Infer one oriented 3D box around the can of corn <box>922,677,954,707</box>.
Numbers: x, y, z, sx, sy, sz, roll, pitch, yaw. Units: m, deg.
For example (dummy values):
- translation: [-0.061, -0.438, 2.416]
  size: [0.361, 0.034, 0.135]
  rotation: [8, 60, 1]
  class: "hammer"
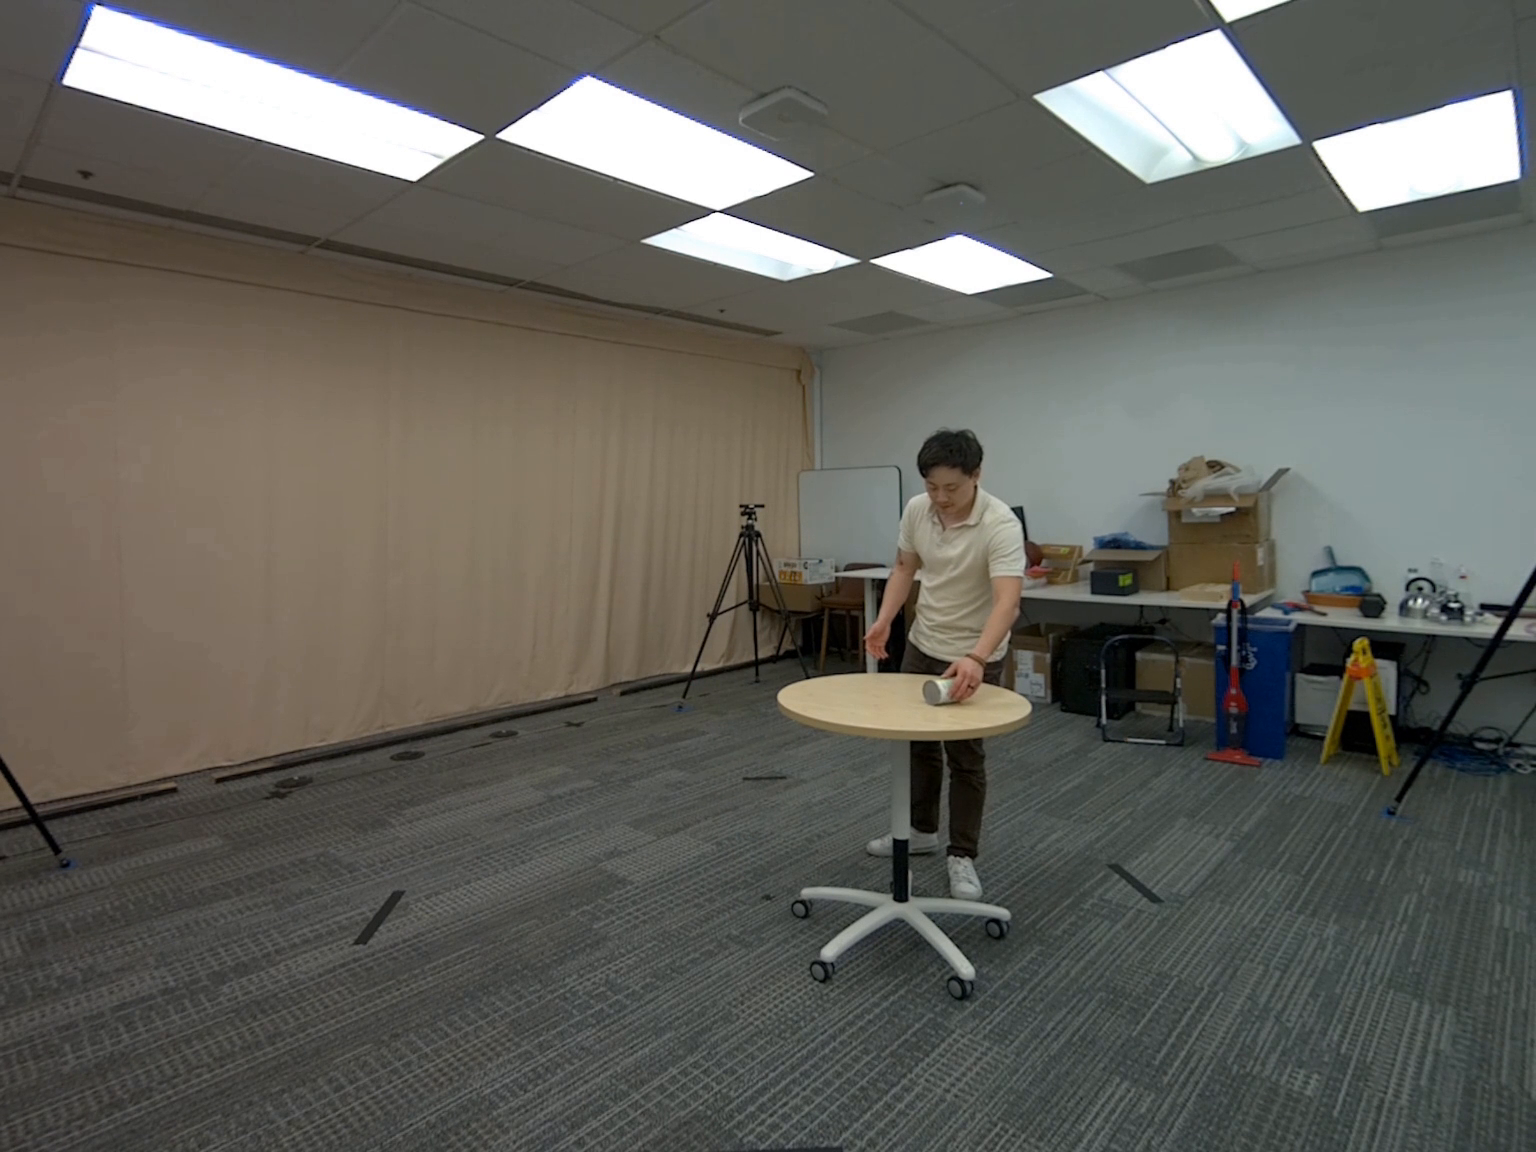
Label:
- translation: [0.540, 0.347, 2.552]
  size: [0.108, 0.074, 0.076]
  rotation: [-2, 4, -23]
  class: "can of corn"
